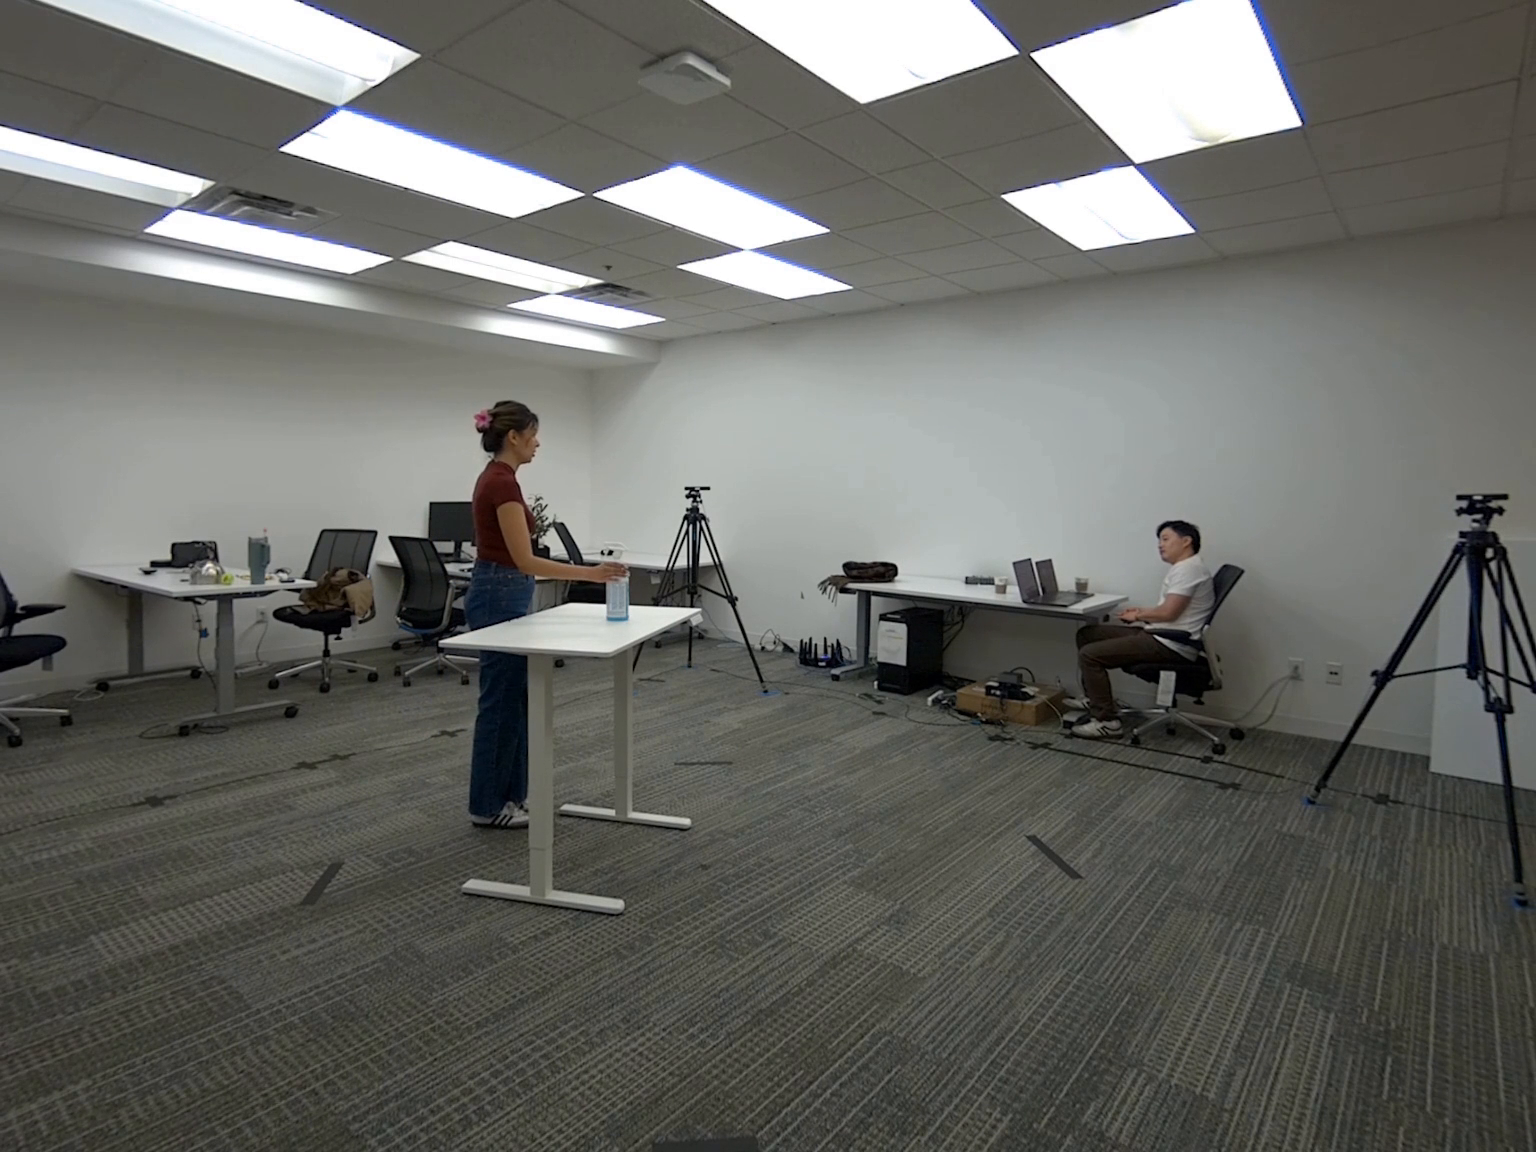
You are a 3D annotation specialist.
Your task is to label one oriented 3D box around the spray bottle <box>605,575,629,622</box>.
[{"bbox_3d":[-0.587,0.019,3.243,0.092,0.297,0.085,-1,2,24],"label":"spray bottle"}]
